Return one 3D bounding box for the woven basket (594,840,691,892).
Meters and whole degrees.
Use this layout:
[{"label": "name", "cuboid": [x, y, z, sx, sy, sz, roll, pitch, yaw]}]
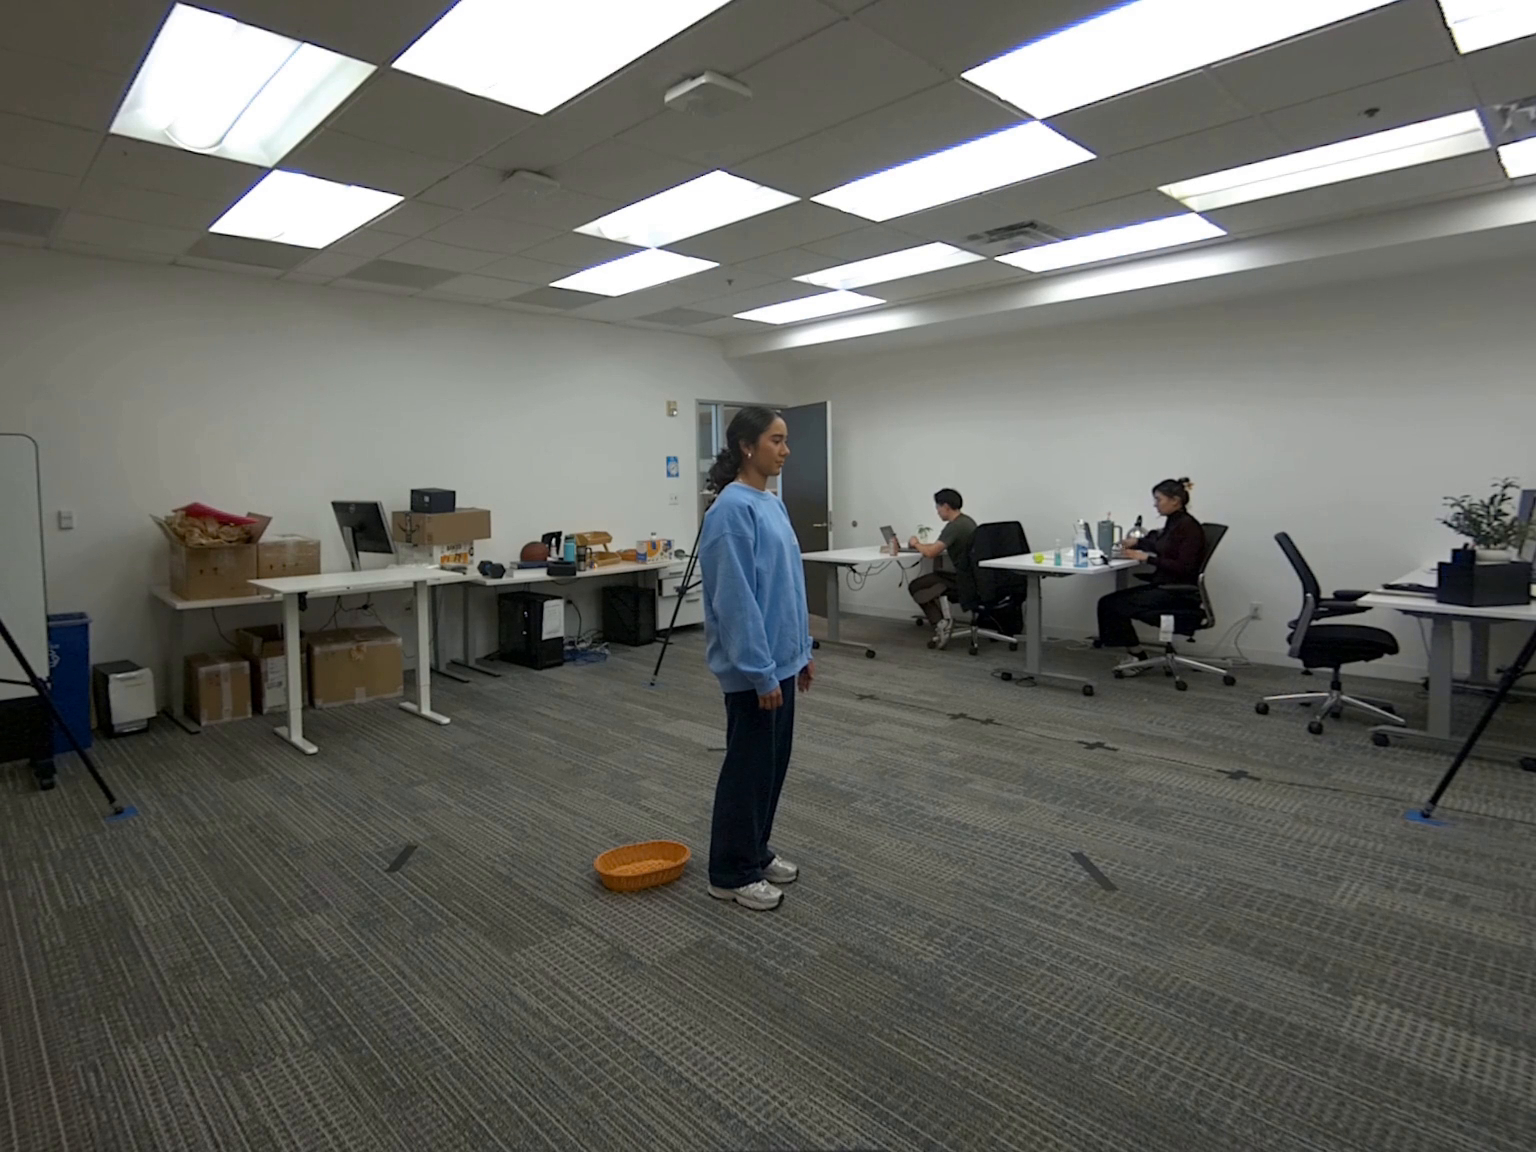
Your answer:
[{"label": "woven basket", "cuboid": [-0.435, 1.024, 3.012, 0.343, 0.073, 0.258, -4, 7, -24]}]
